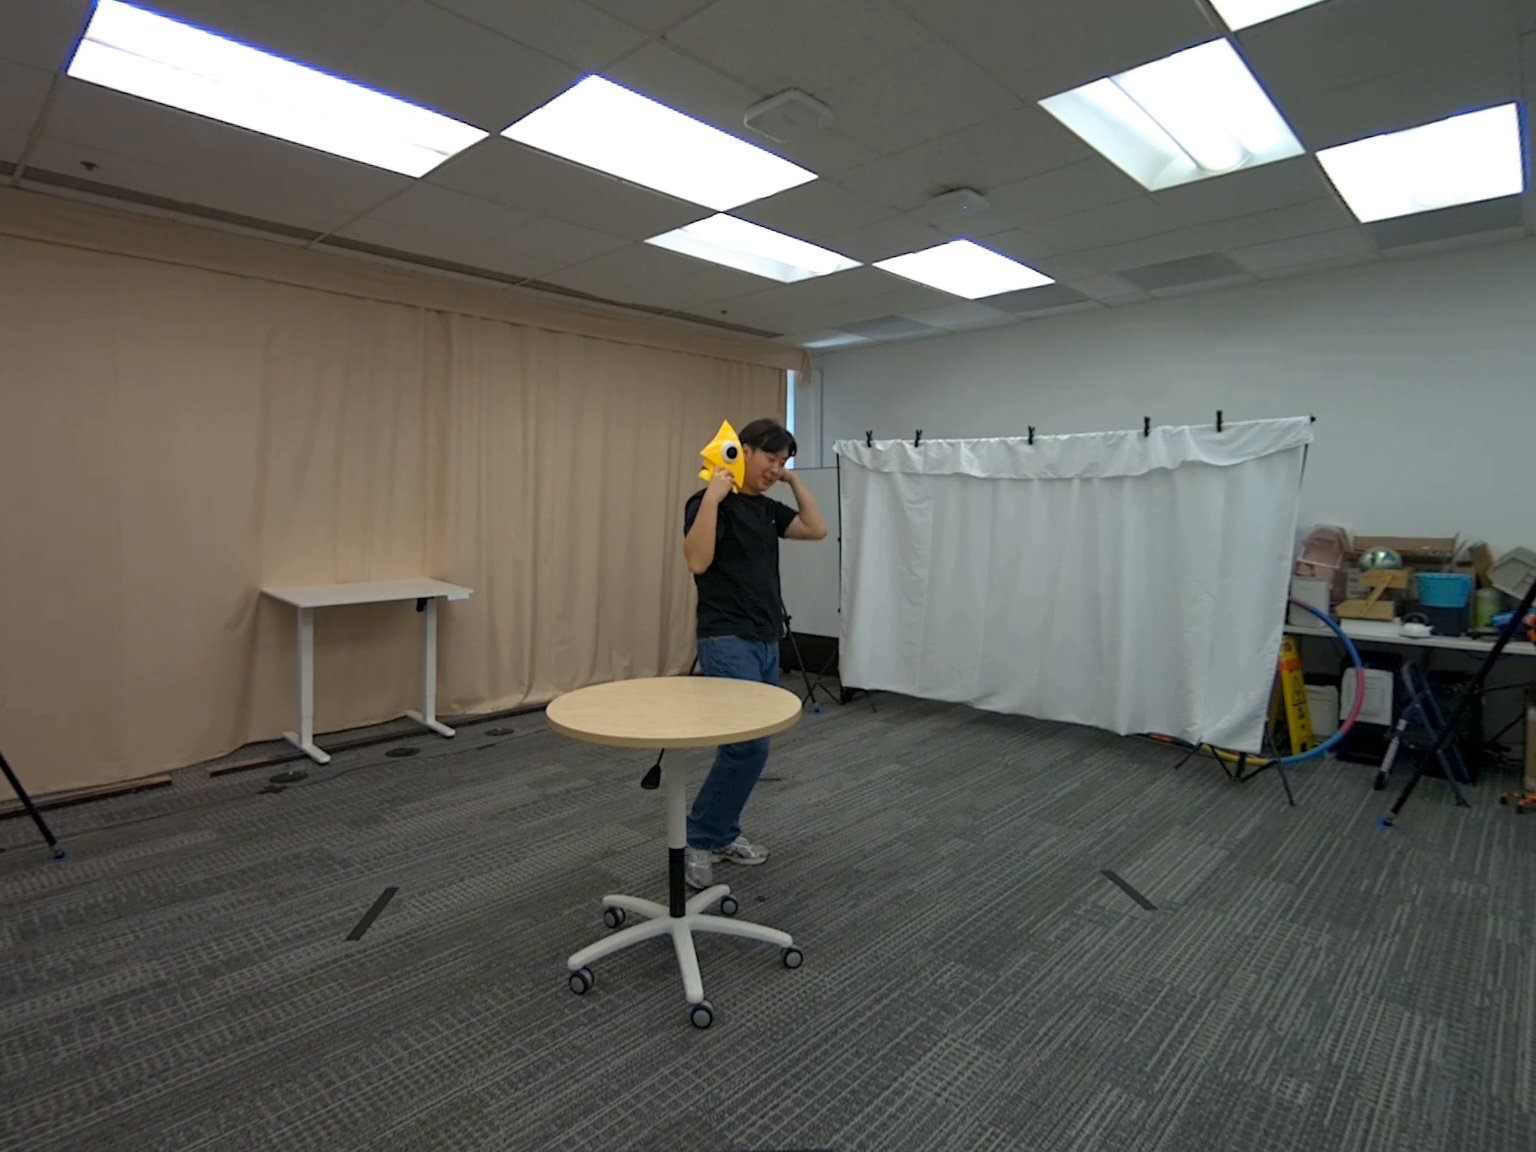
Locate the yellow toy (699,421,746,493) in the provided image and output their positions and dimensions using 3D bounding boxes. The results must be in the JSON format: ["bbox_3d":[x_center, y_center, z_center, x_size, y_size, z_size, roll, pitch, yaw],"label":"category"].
[{"bbox_3d":[-0.139,-0.453,3.143,0.193,0.230,0.205,24,4,-2],"label":"yellow toy"}]
